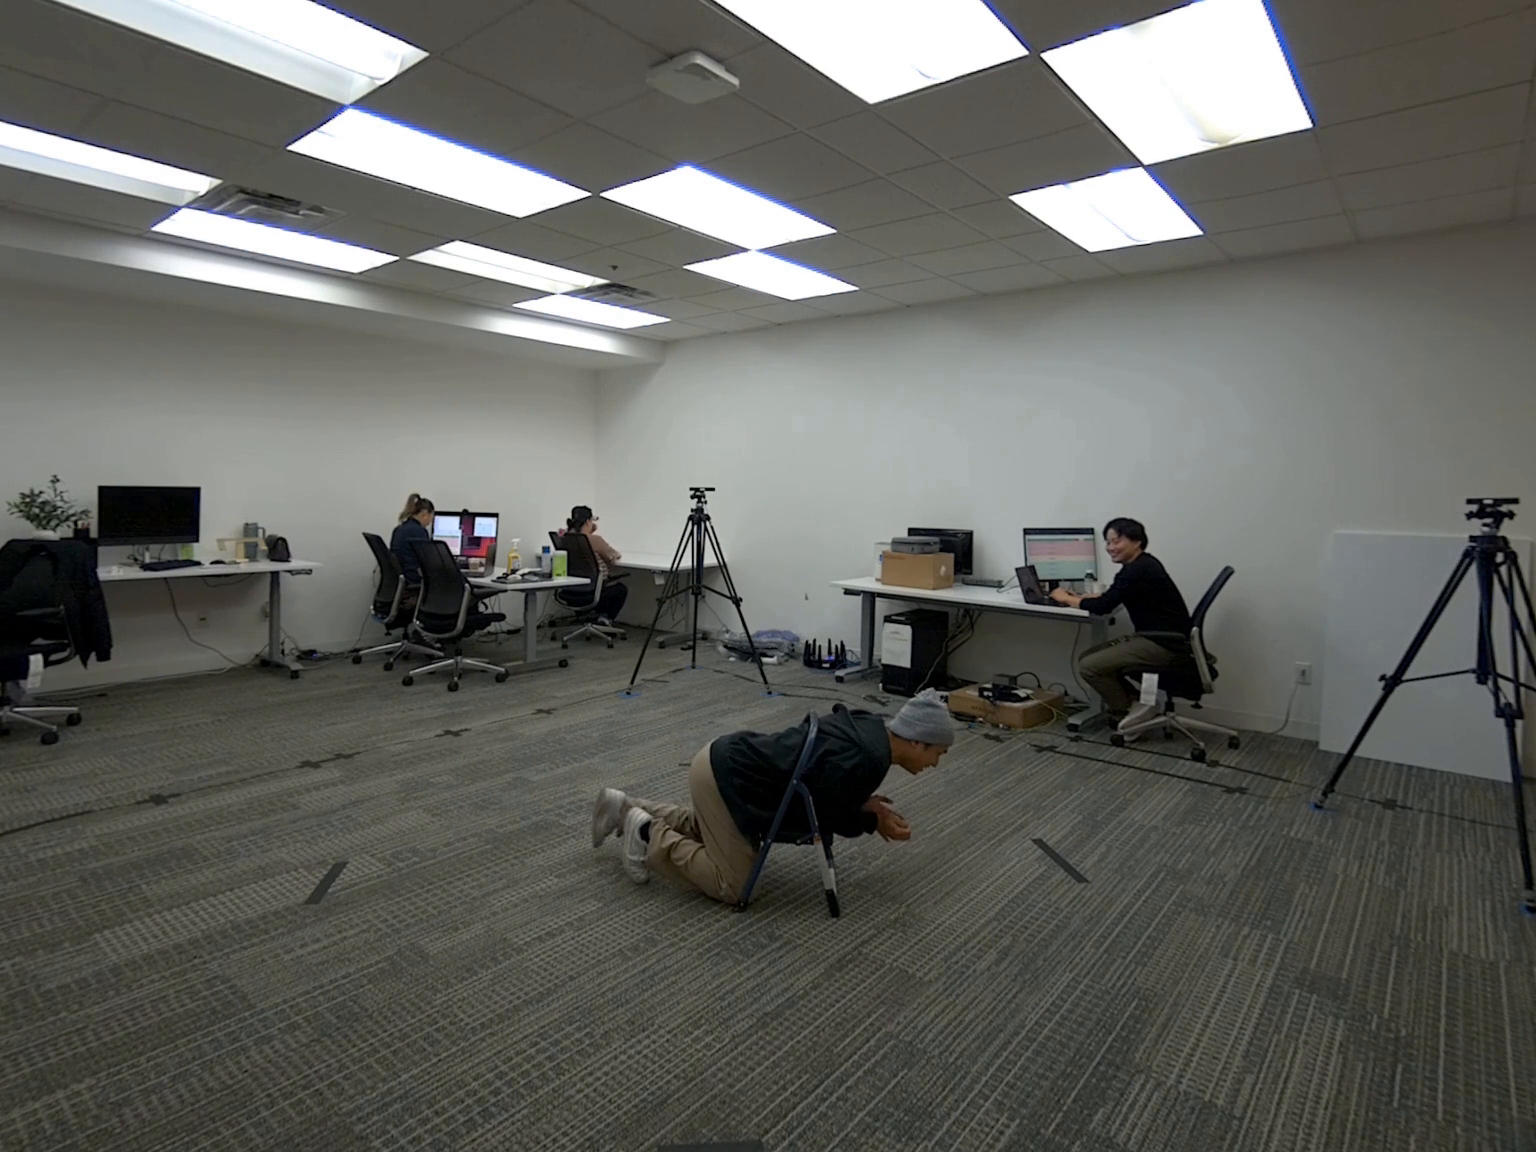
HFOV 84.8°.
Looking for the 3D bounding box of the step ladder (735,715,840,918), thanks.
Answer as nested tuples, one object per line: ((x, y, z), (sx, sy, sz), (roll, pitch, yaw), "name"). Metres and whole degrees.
((0.072, 0.796, 2.971), (0.350, 0.604, 0.431), (2, 4, 1), "step ladder")
